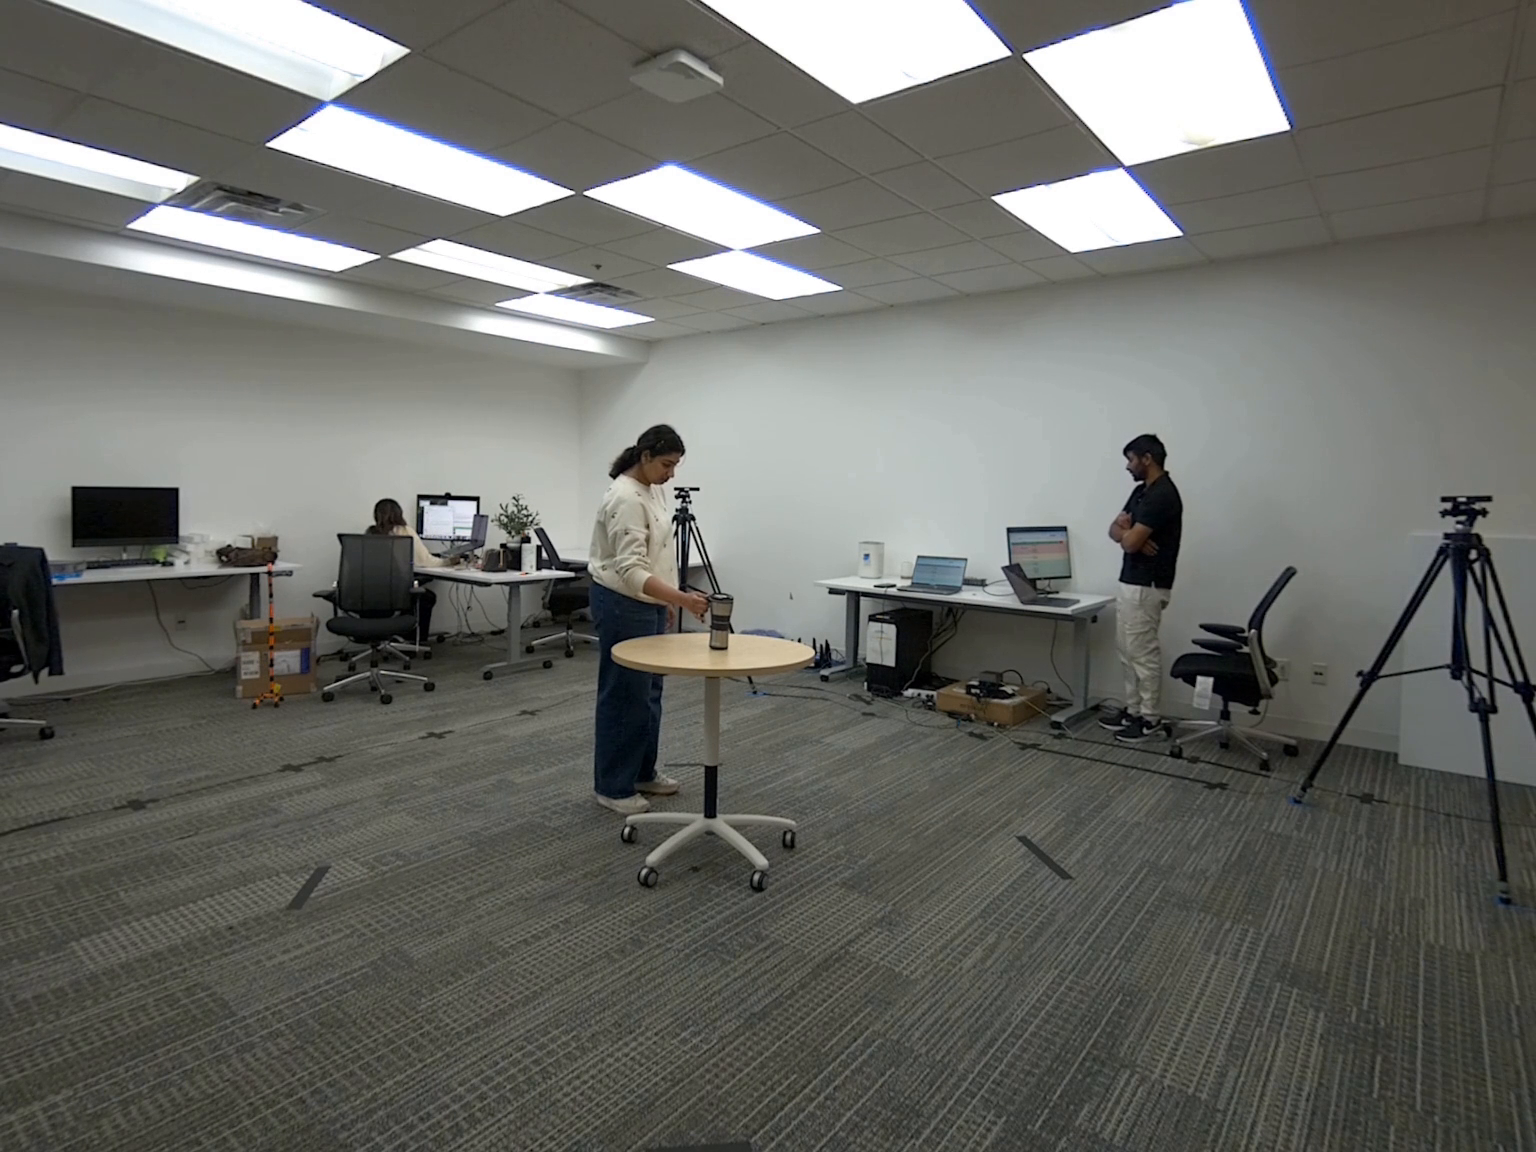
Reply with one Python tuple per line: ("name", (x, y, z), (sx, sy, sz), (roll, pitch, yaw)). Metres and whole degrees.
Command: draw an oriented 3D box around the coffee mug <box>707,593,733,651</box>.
("coffee mug", (-0.206, 0.169, 3.230), (0.126, 0.201, 0.085), (12, 12, 42))
